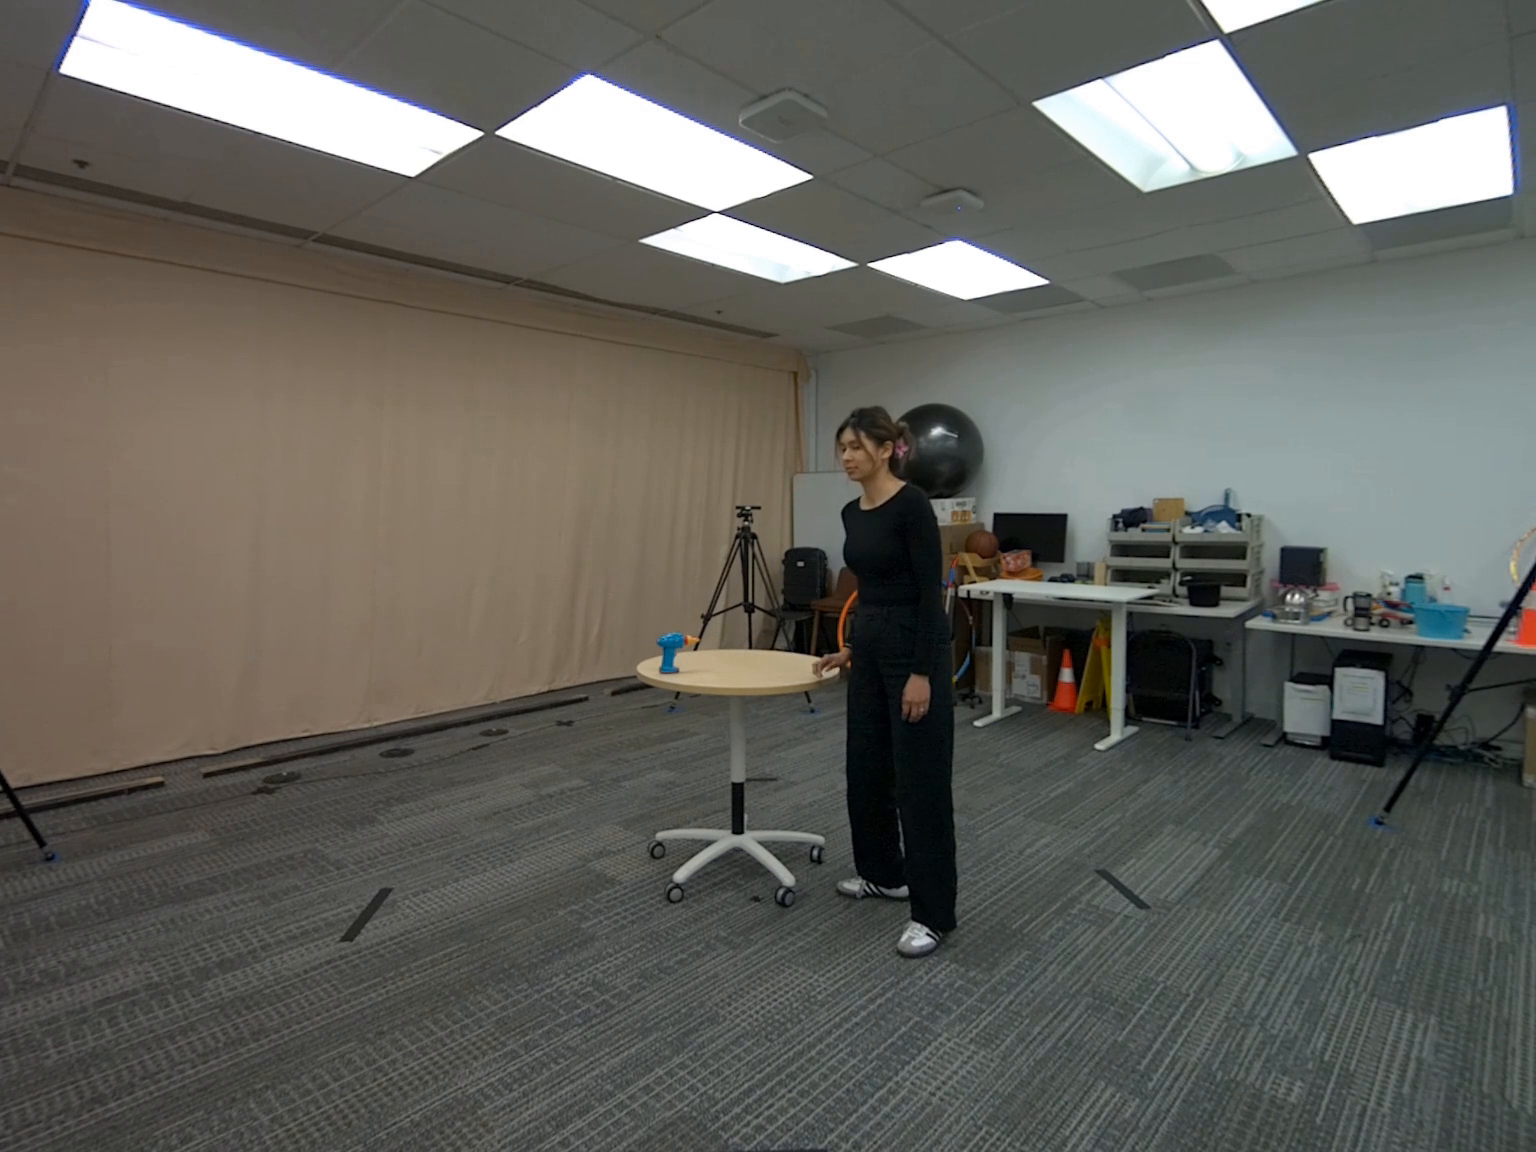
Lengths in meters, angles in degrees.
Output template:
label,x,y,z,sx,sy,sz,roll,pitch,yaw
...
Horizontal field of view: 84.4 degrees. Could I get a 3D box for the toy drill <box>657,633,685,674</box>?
label,x,y,z,sx,sy,sz,roll,pitch,yaw
toy drill,-0.322,0.280,3.084,0.165,0.146,0.063,-2,3,-27
